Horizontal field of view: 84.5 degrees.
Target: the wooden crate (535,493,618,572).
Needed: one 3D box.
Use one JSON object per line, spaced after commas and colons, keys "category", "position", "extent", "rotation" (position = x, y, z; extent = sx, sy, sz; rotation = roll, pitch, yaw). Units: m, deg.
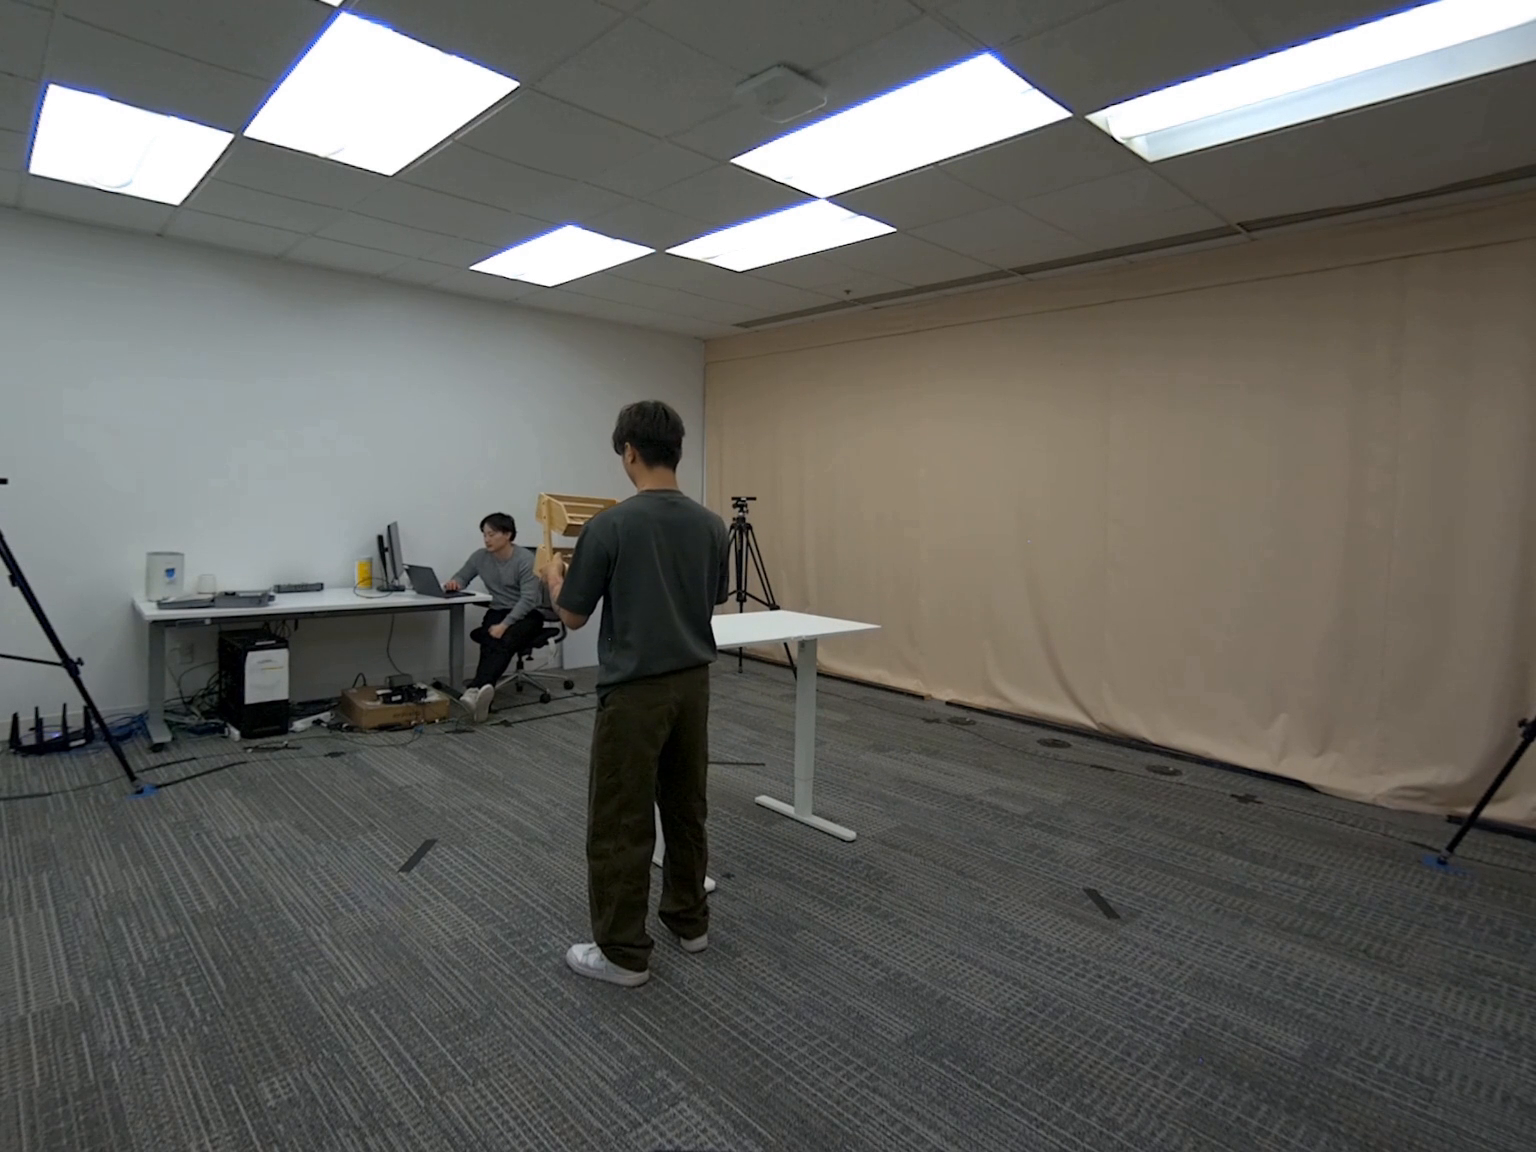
{"category": "wooden crate", "position": [-0.572, -0.101, 2.765], "extent": [0.316, 0.272, 0.311], "rotation": [2, 15, -43]}
